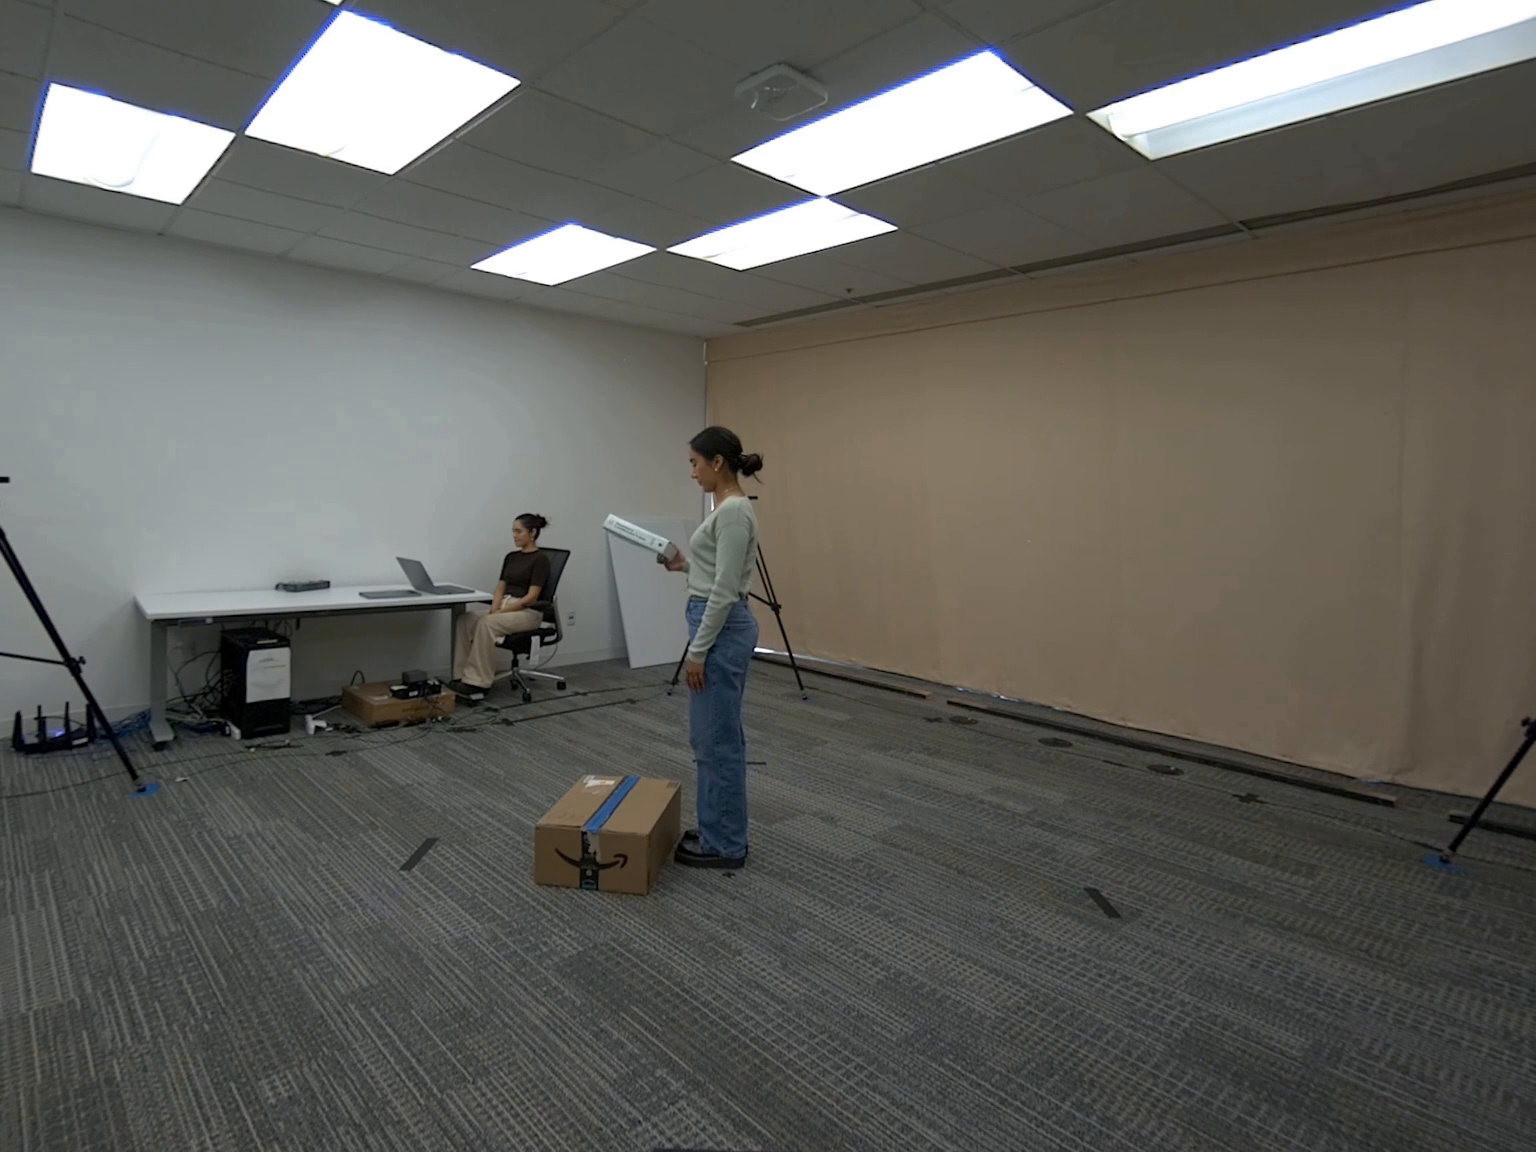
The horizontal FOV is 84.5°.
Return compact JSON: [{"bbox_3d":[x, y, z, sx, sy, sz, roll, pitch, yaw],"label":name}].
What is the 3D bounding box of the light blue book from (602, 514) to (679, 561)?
[{"bbox_3d":[-0.497,-0.145,3.285,0.264,0.059,0.189,24,-5,9],"label":"light blue book"}]
